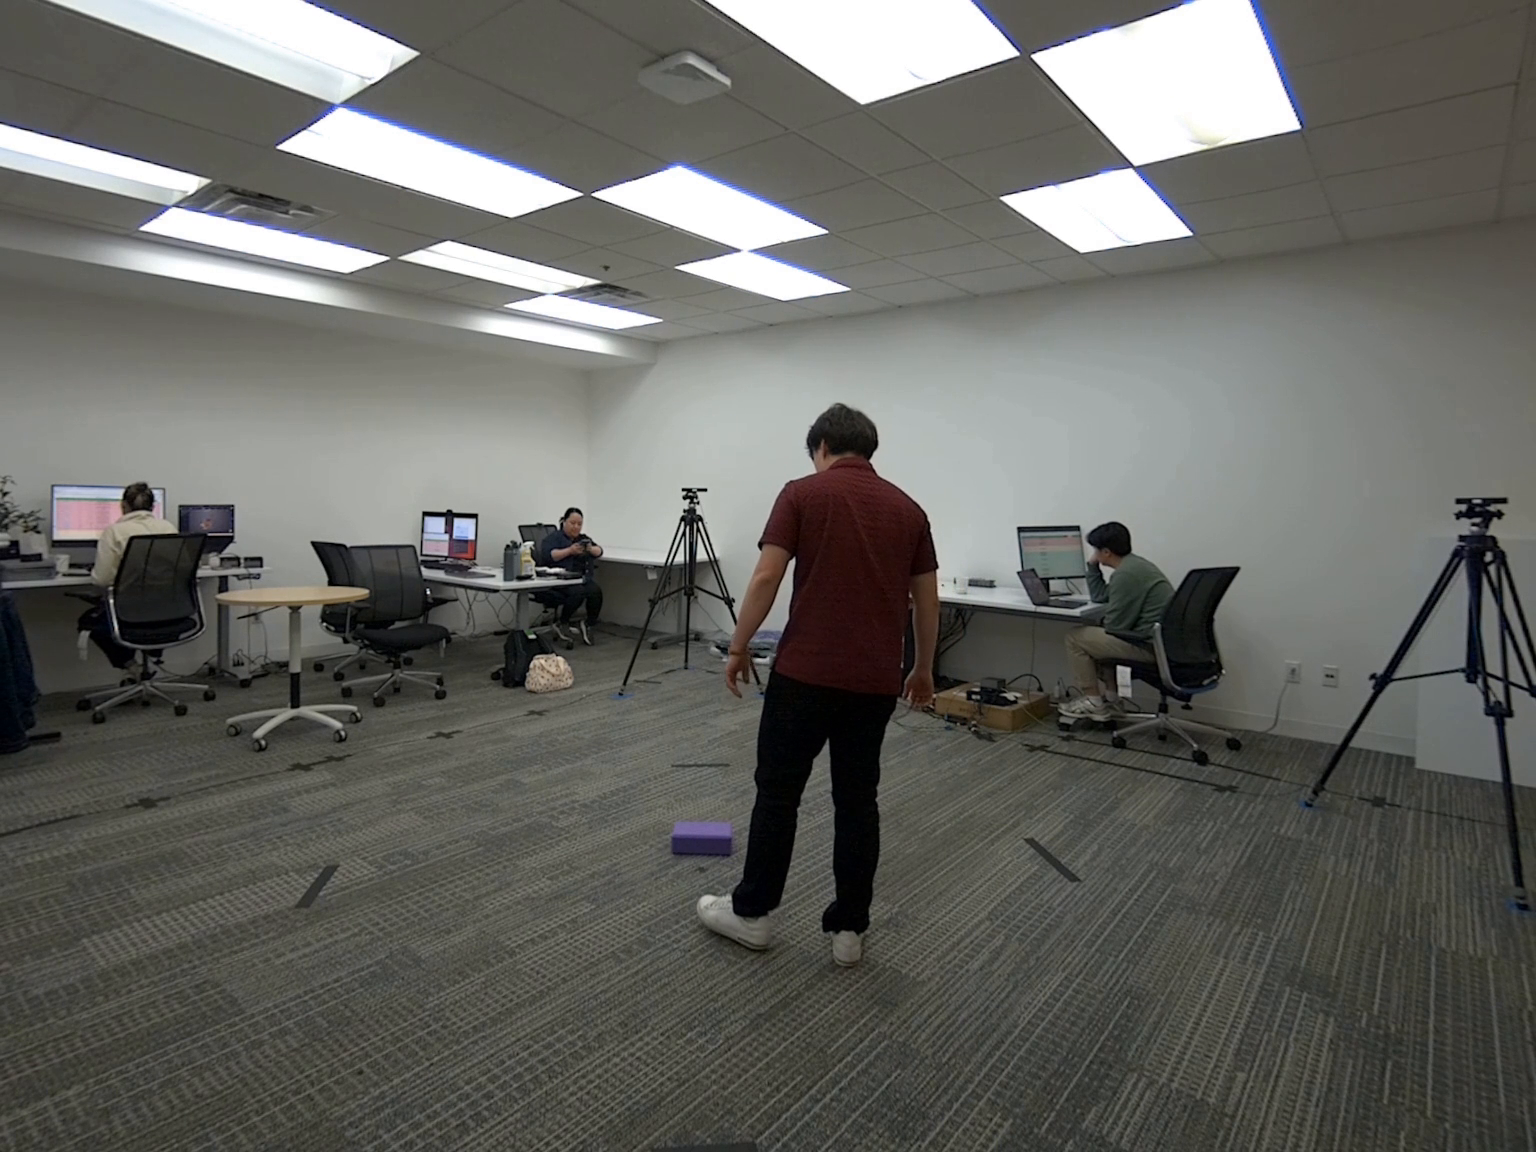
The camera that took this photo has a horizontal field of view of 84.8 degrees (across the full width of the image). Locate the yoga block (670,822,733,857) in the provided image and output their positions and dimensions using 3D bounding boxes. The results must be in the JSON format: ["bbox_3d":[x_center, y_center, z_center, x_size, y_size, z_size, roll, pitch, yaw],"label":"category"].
[{"bbox_3d":[-0.267,1.006,3.293,0.230,0.076,0.149,1,6,3],"label":"yoga block"}]
